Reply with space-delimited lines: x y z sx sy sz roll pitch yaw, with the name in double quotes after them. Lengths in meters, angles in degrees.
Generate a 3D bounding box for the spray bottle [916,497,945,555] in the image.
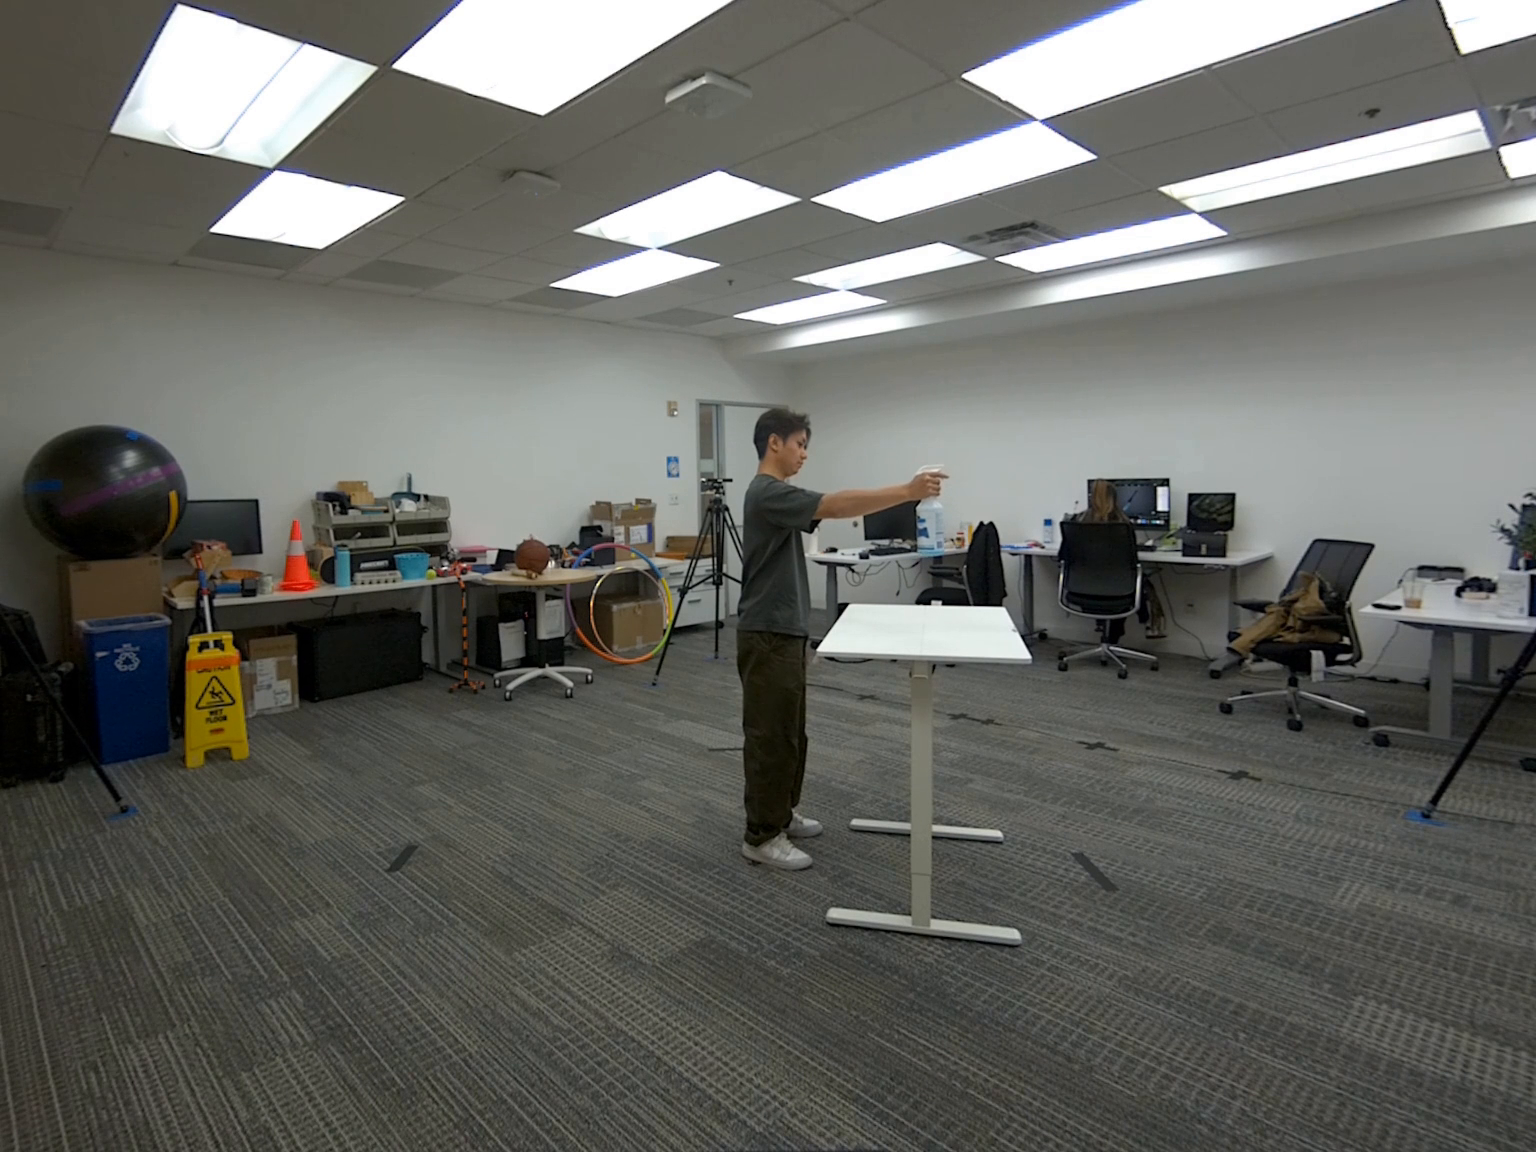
0.533 -0.215 2.817 0.092 0.296 0.085 -1 4 29 "spray bottle"
